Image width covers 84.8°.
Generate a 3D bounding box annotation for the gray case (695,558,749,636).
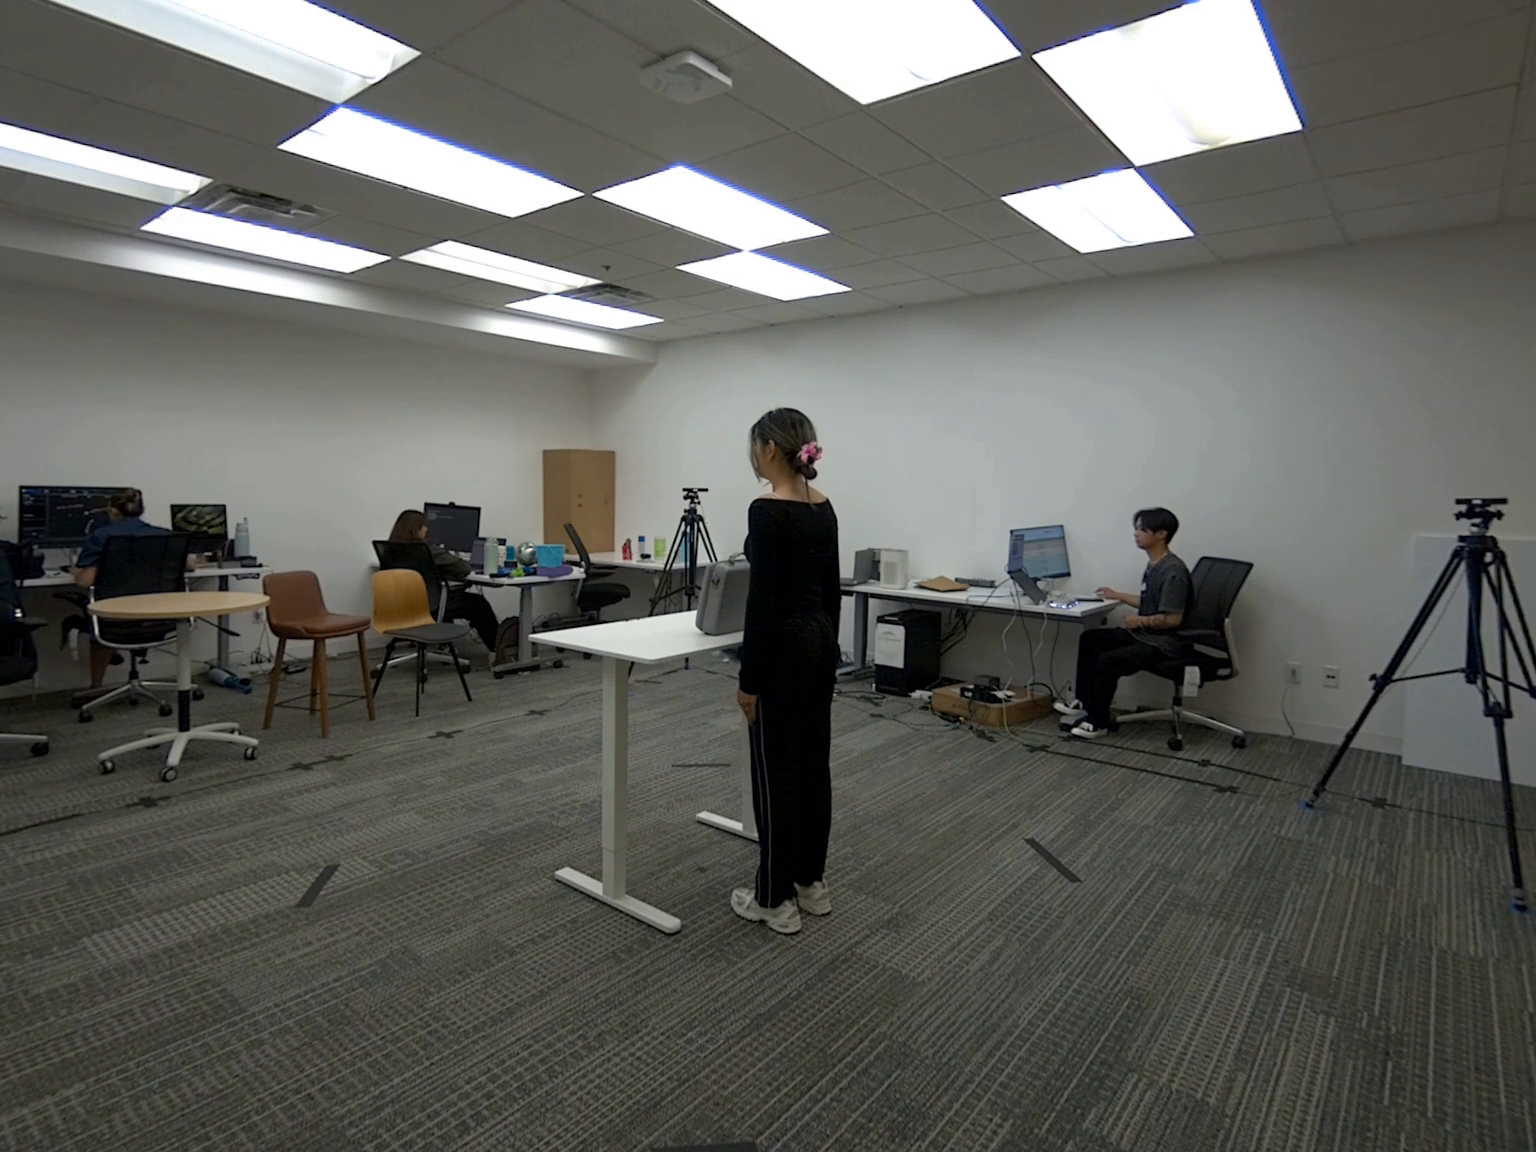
[{"bbox_3d":[-0.134,0.066,3.012,0.108,0.258,0.249,19,15,39],"label":"gray case"}]
